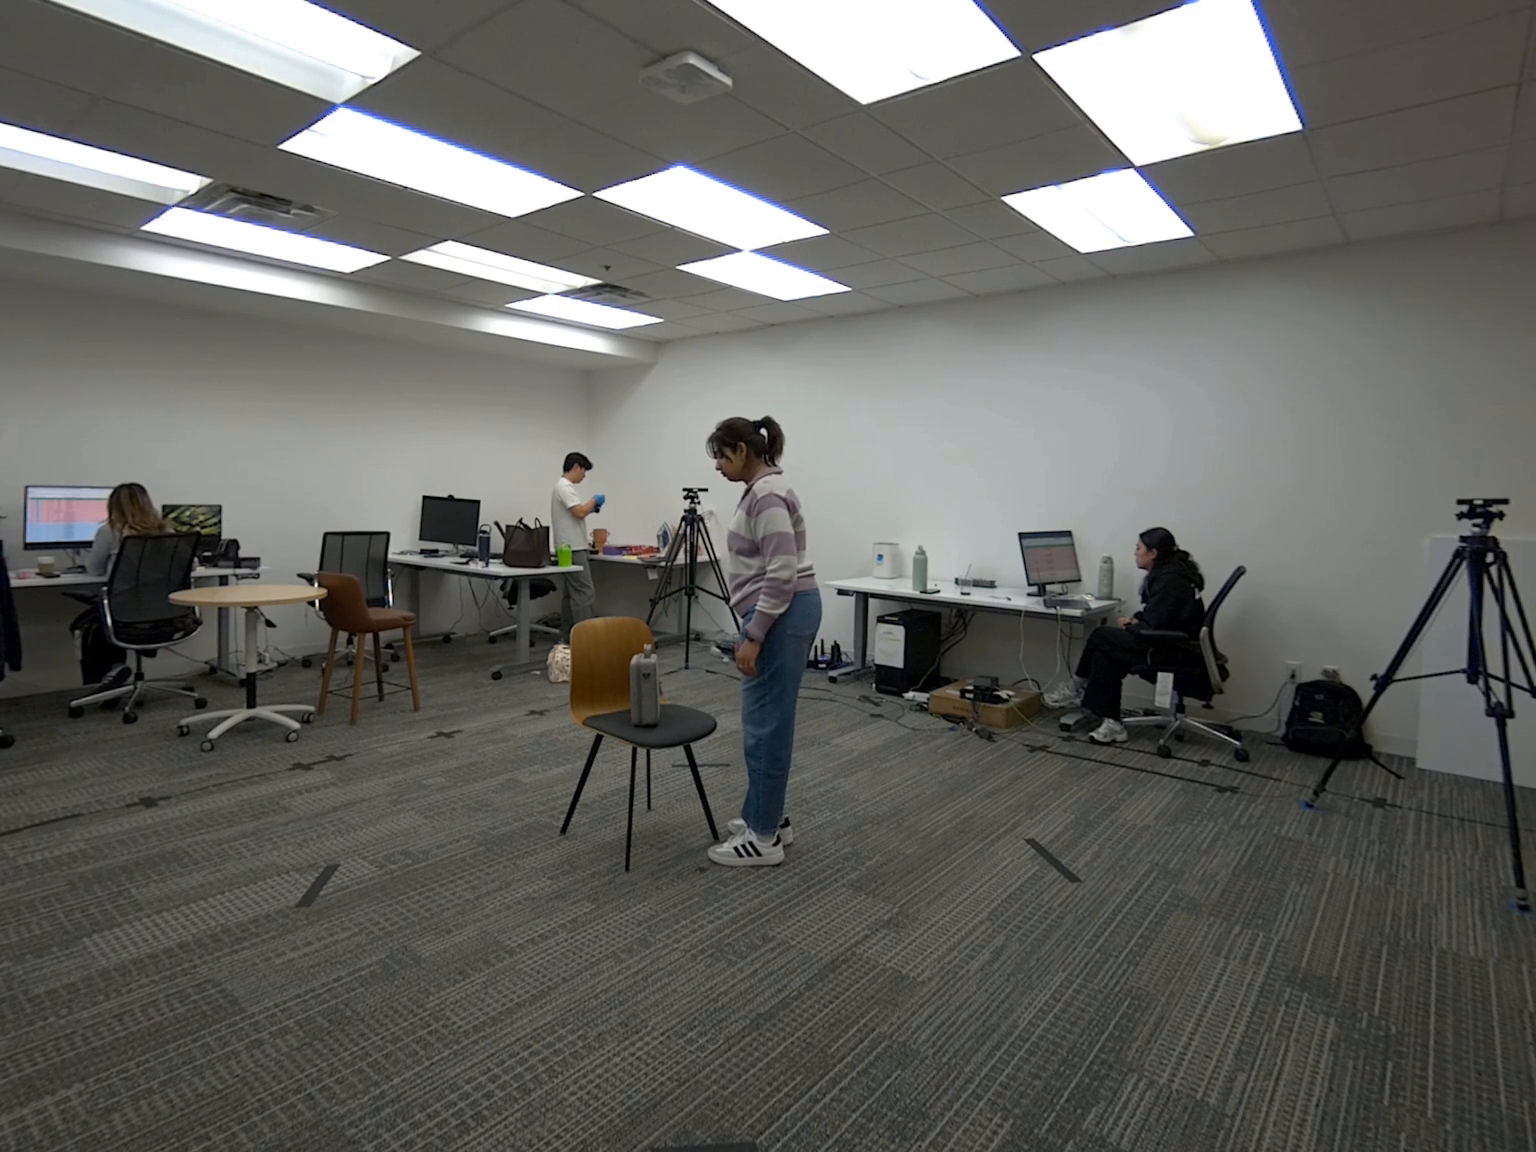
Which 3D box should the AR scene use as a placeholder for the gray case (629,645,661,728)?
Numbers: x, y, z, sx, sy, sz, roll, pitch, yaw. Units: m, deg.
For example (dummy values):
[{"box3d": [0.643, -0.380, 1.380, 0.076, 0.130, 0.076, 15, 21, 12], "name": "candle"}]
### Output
[{"box3d": [-0.499, 0.431, 3.350, 0.104, 0.260, 0.258, 0, 1, -6], "name": "gray case"}]
